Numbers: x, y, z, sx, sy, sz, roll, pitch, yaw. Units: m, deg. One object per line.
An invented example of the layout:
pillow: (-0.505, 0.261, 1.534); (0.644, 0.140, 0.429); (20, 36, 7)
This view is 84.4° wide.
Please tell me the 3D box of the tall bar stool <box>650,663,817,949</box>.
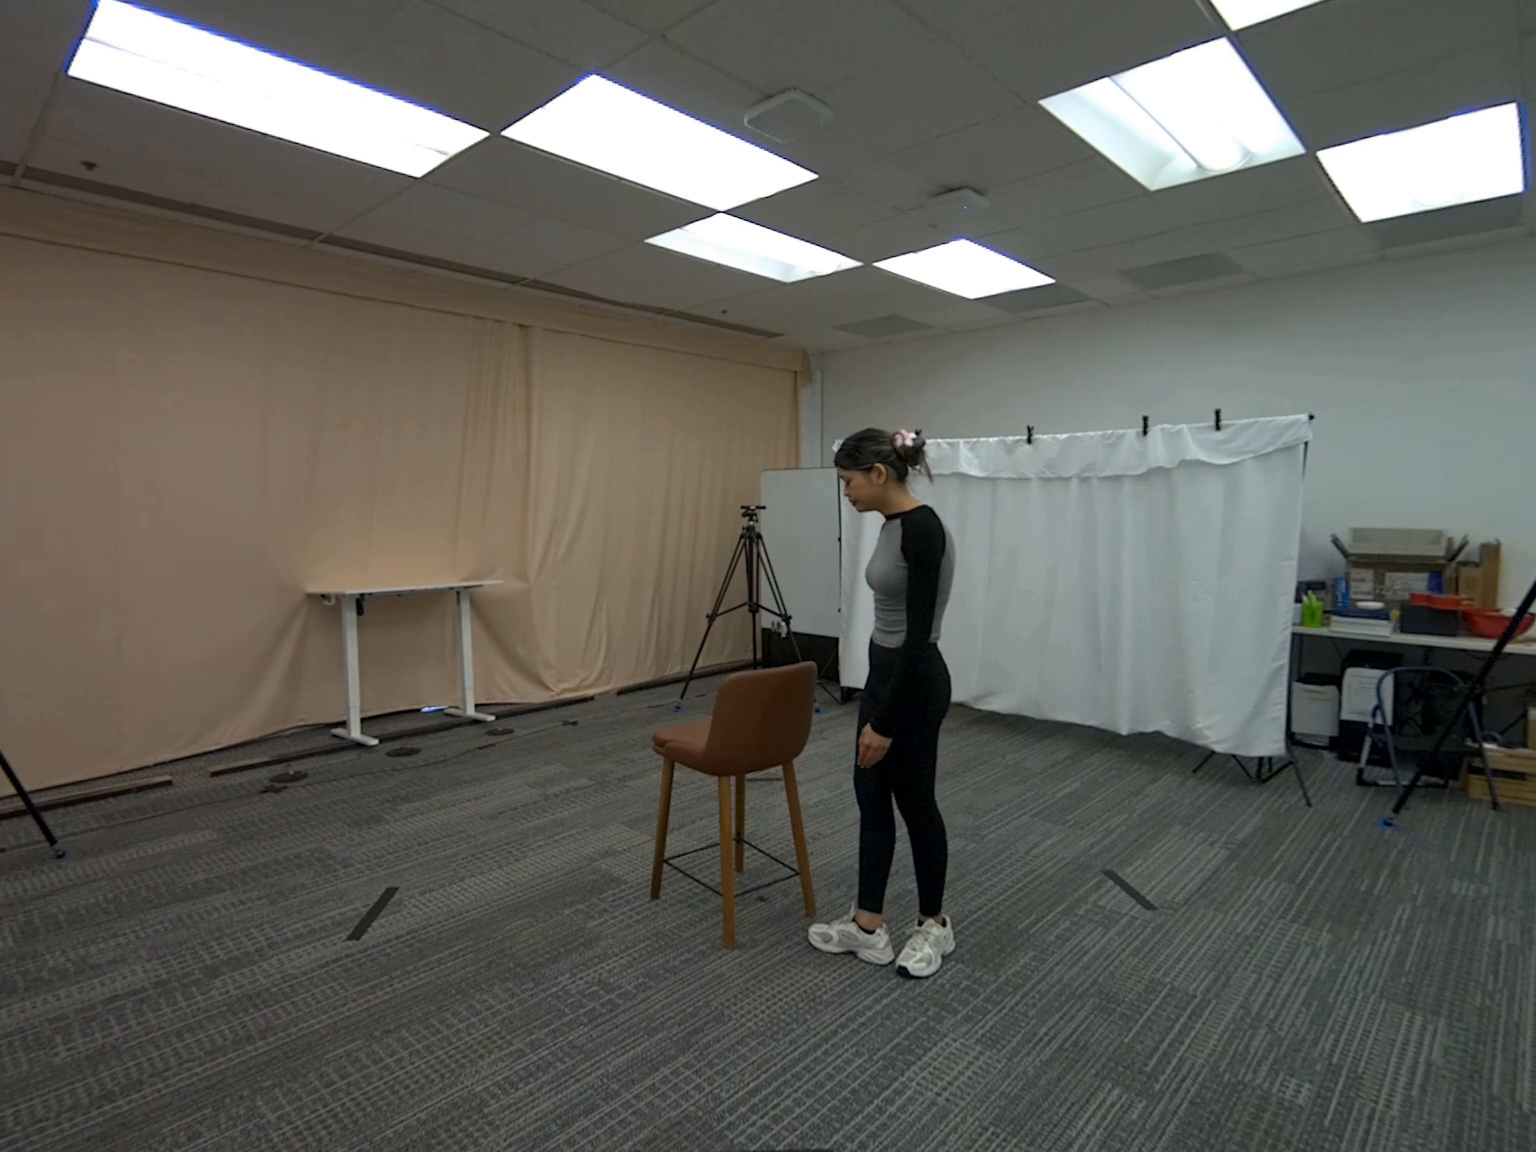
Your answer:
tall bar stool: (-0.116, 0.712, 2.903); (0.443, 0.887, 0.483); (-3, 6, -38)
